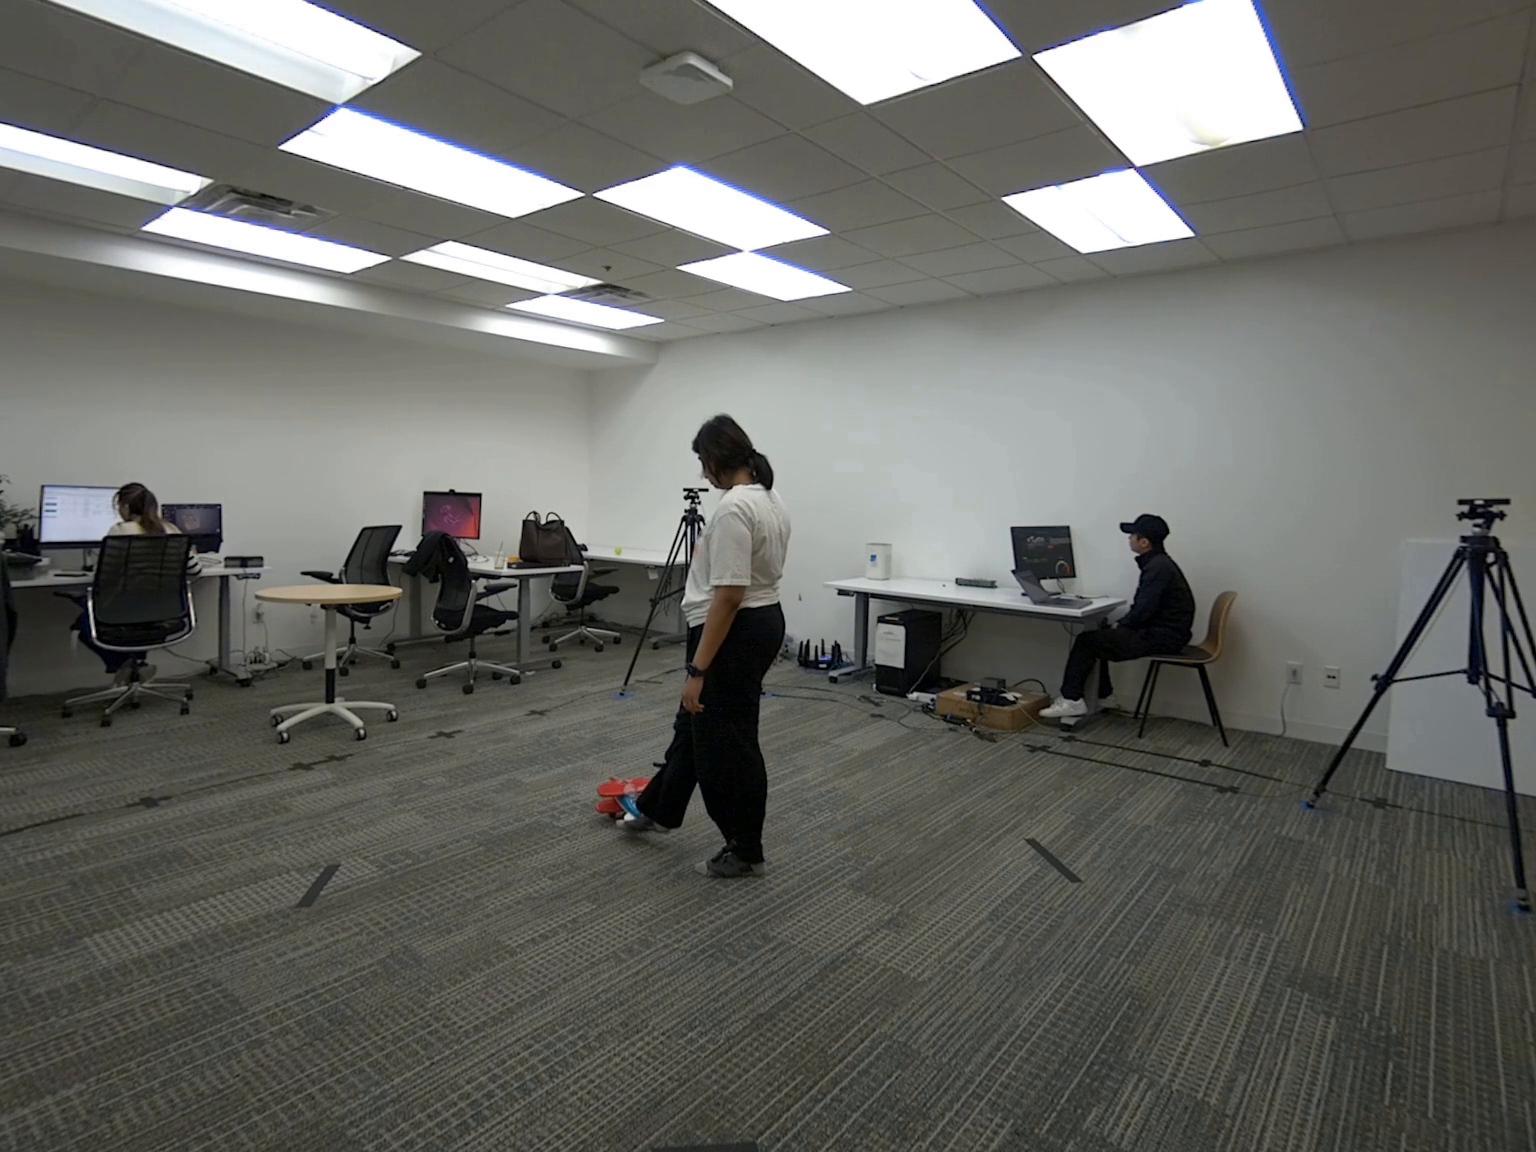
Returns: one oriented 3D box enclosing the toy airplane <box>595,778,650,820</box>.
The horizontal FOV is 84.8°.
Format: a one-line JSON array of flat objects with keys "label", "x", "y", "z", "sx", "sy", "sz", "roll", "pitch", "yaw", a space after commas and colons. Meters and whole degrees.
[{"label": "toy airplane", "x": -0.581, "y": 0.945, "z": 3.552, "sx": 0.267, "sy": 0.156, "sz": 0.244, "roll": 3, "pitch": 4, "yaw": 34}]
